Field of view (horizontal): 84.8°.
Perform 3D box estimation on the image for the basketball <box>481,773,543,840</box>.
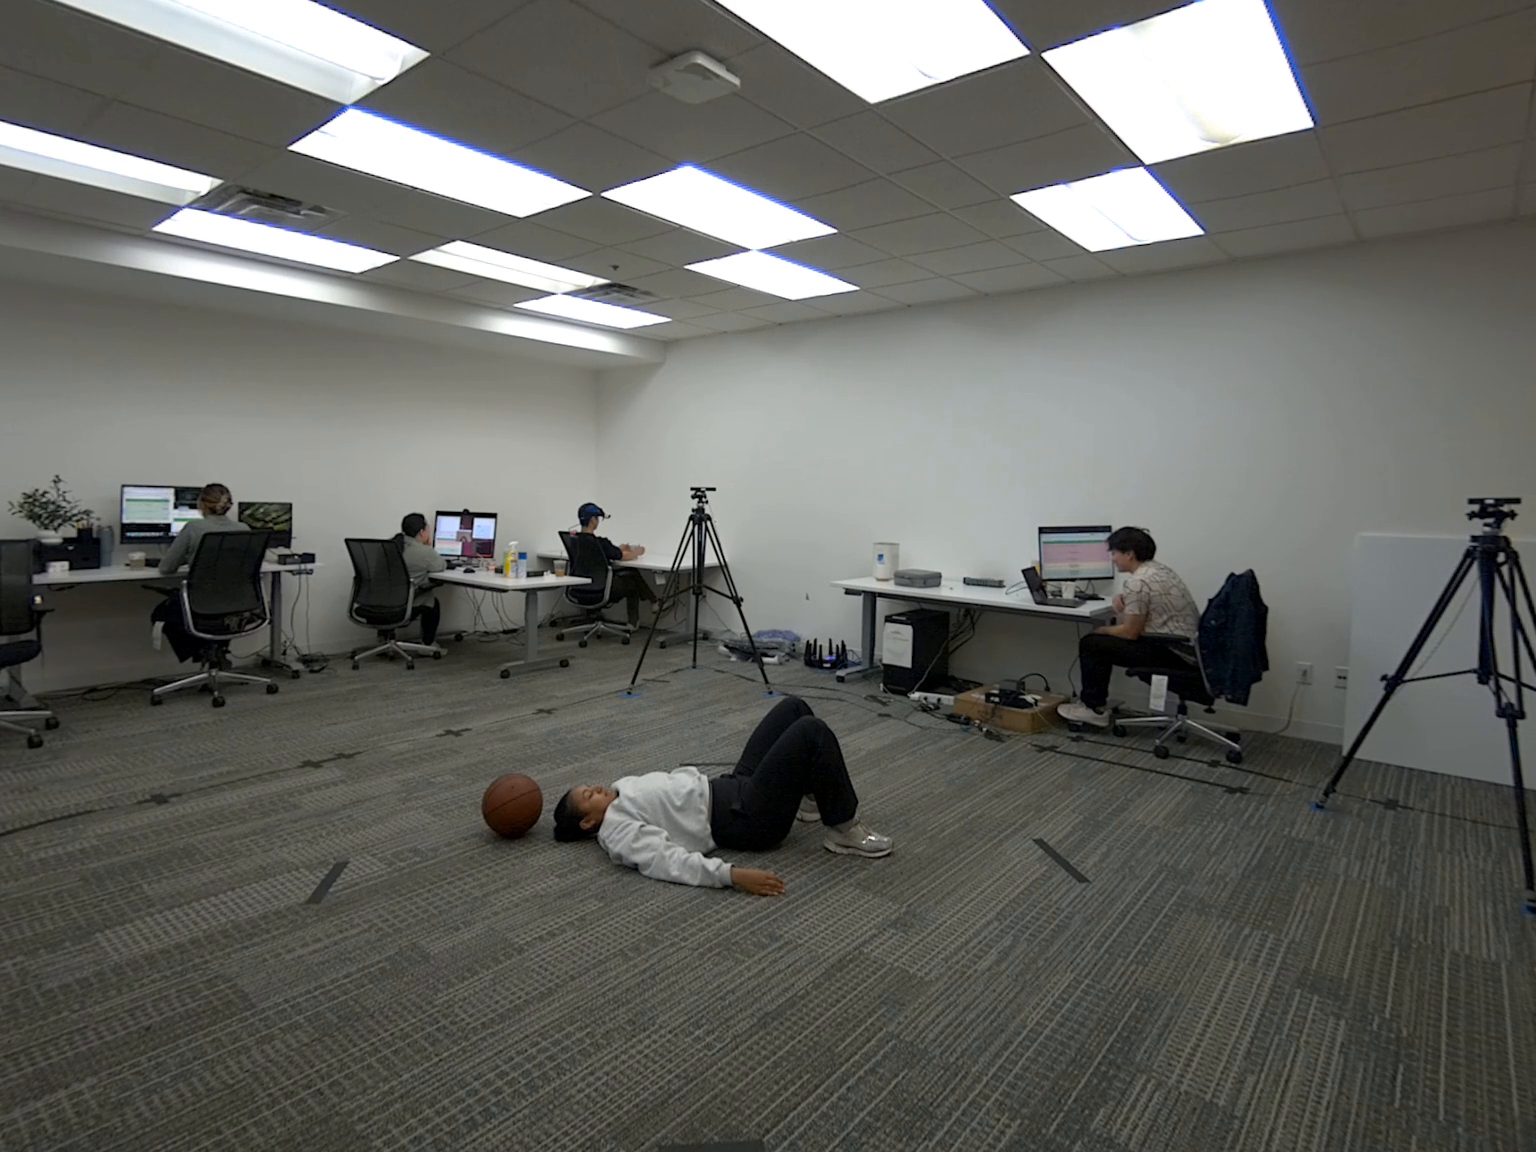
[{"bbox_3d":[-1.035,0.913,3.386,0.235,0.235,0.237,1,4,-2],"label":"basketball"}]
